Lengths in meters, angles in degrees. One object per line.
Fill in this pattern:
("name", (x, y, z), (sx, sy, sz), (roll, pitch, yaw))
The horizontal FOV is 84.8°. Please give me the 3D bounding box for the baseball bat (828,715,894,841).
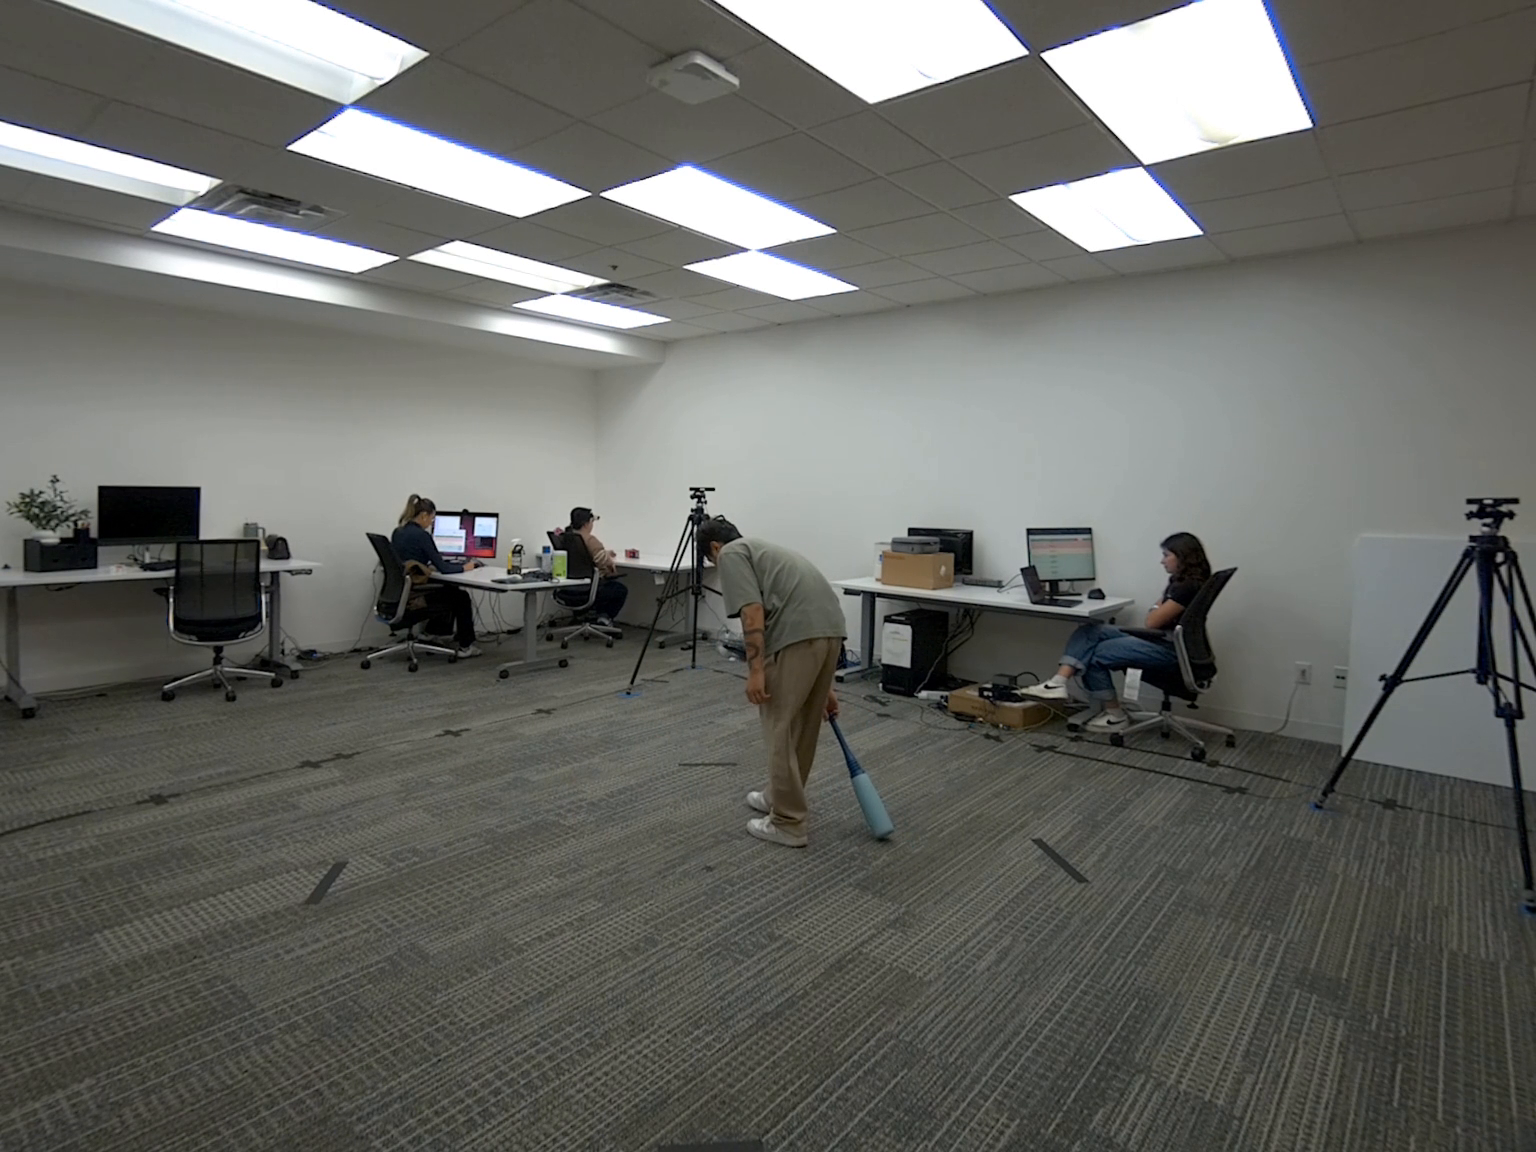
("baseball bat", (0.353, 0.817, 3.524), (0.088, 0.561, 0.087), (-19, -29, -12))
